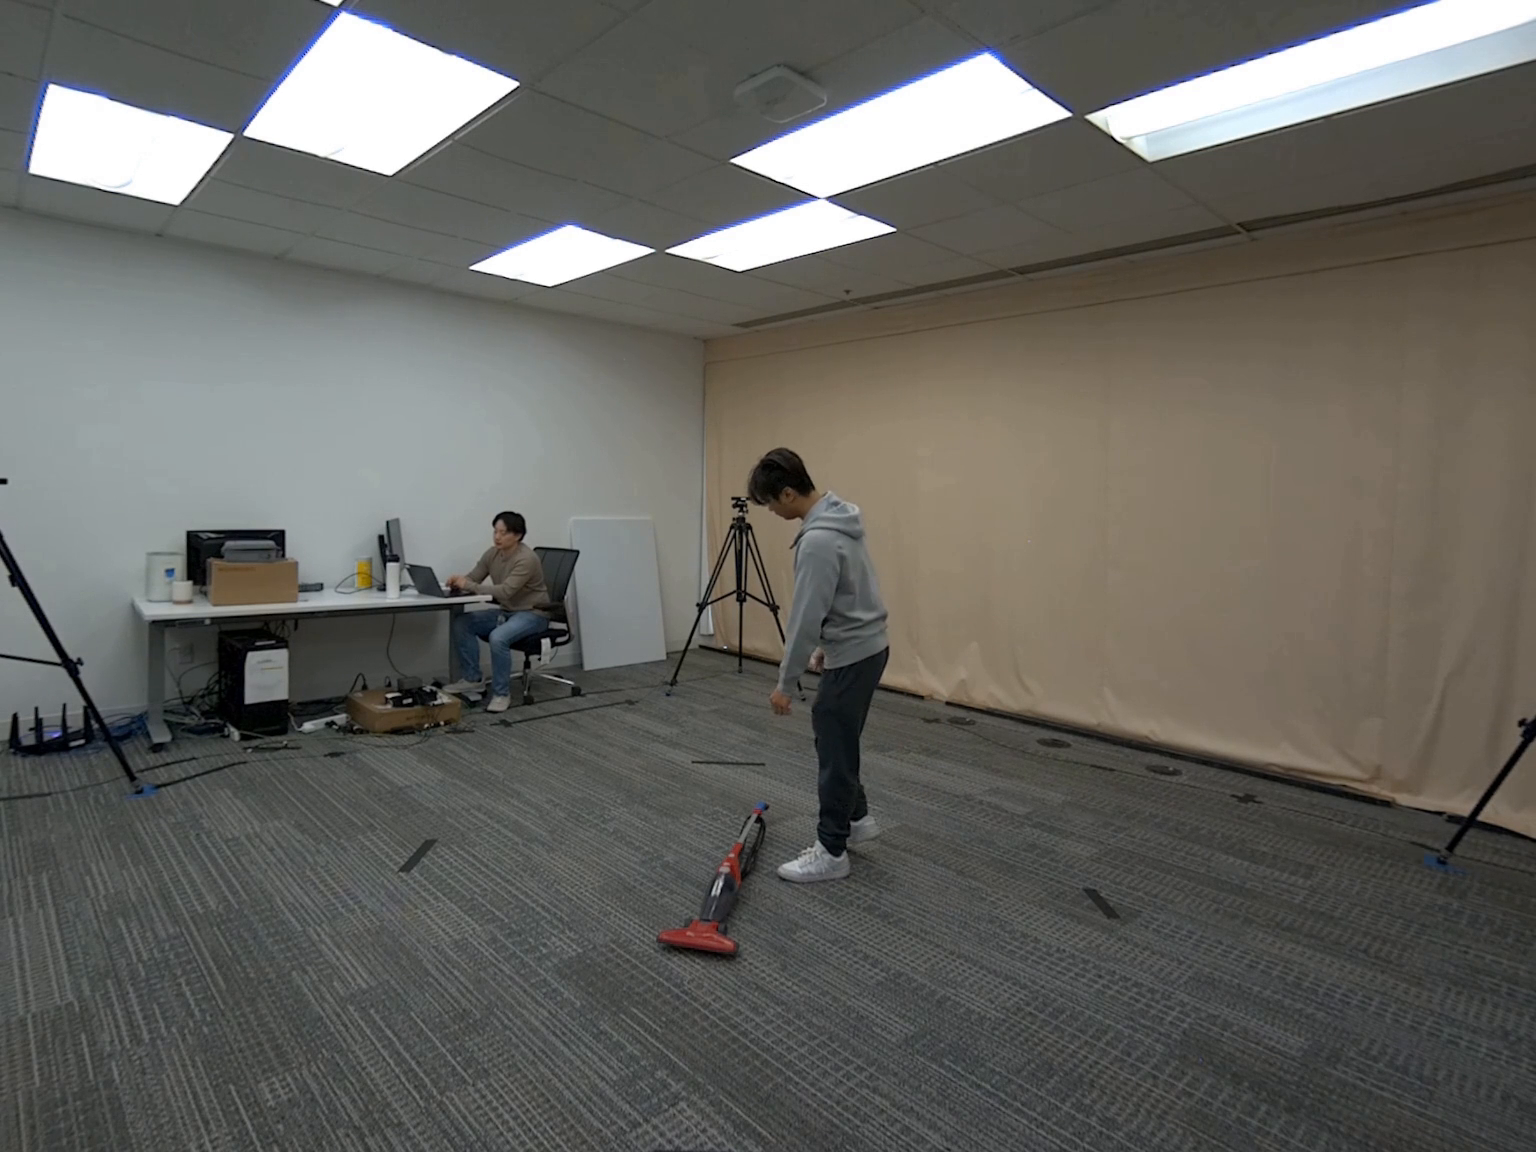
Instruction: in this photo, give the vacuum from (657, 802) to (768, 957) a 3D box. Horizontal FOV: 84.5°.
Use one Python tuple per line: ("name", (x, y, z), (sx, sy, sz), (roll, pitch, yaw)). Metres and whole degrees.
("vacuum", (-0.110, 1.047, 3.136), (0.255, 0.143, 1.044), (-5, 6, 11))
